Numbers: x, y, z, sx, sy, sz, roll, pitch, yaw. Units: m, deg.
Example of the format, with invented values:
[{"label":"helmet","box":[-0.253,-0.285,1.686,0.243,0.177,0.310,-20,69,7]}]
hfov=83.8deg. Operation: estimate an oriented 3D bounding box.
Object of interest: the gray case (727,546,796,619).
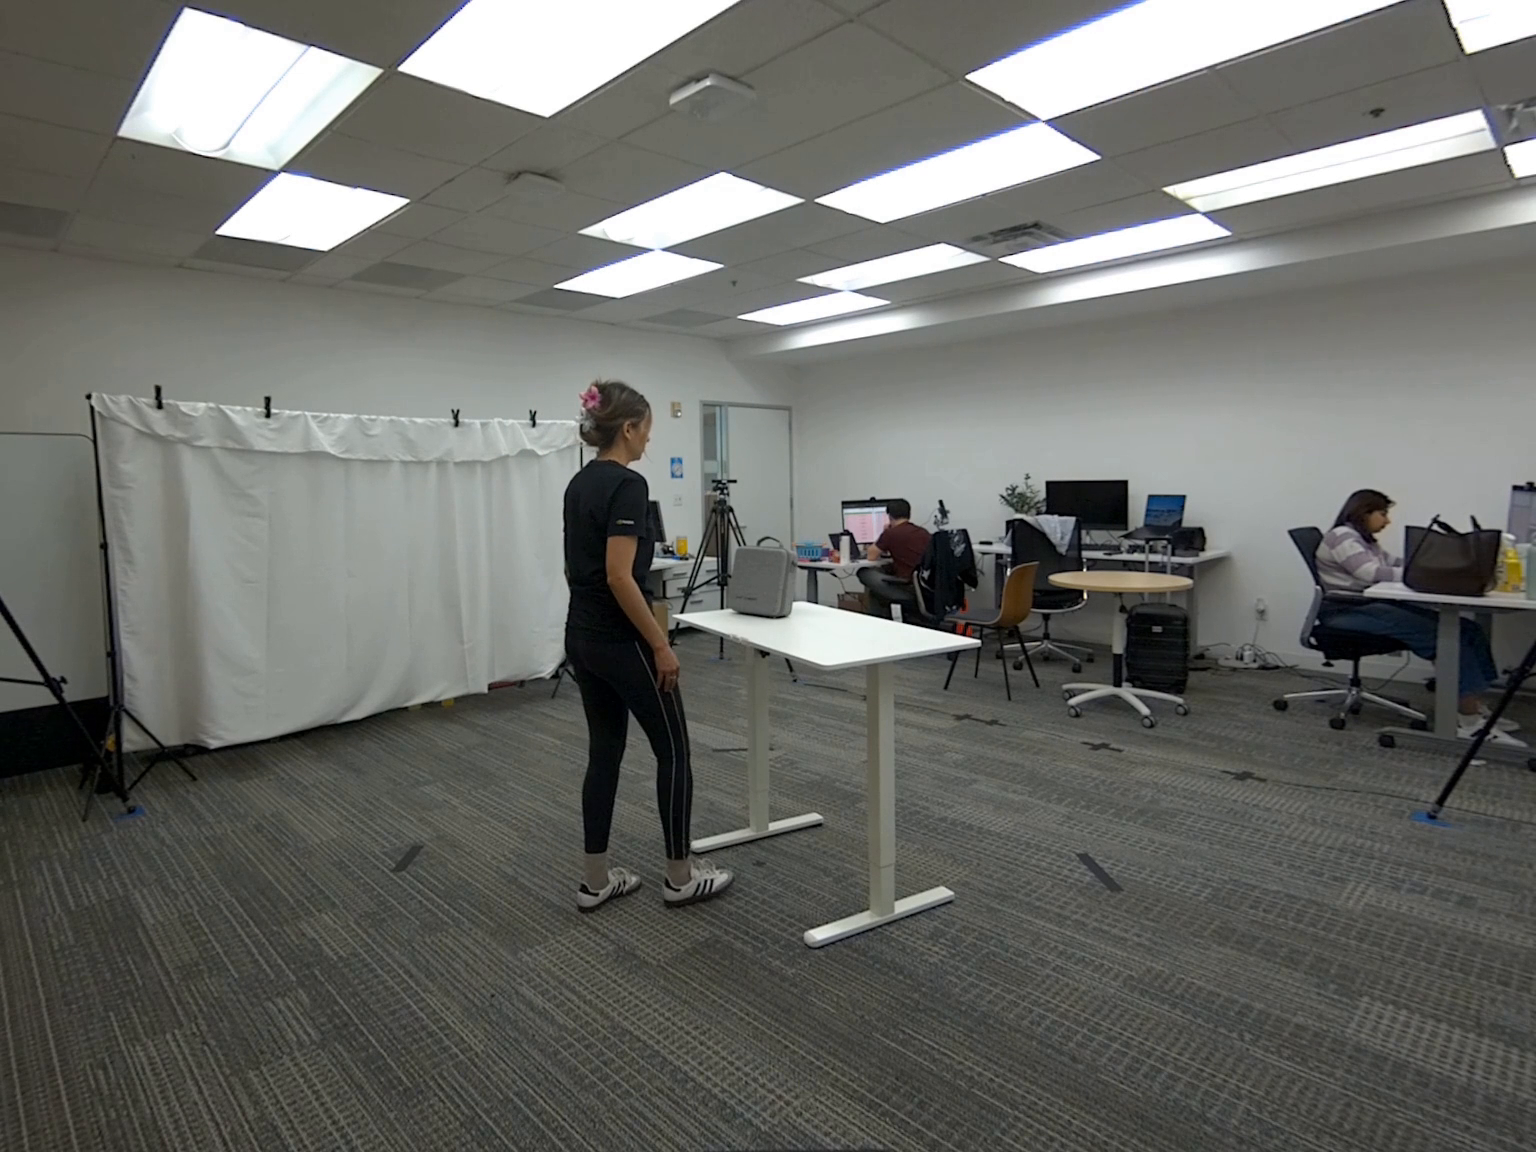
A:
[{"label":"gray case","box":[-0.018,0.015,3.235,0.265,0.261,0.101,5,-5,42]}]
